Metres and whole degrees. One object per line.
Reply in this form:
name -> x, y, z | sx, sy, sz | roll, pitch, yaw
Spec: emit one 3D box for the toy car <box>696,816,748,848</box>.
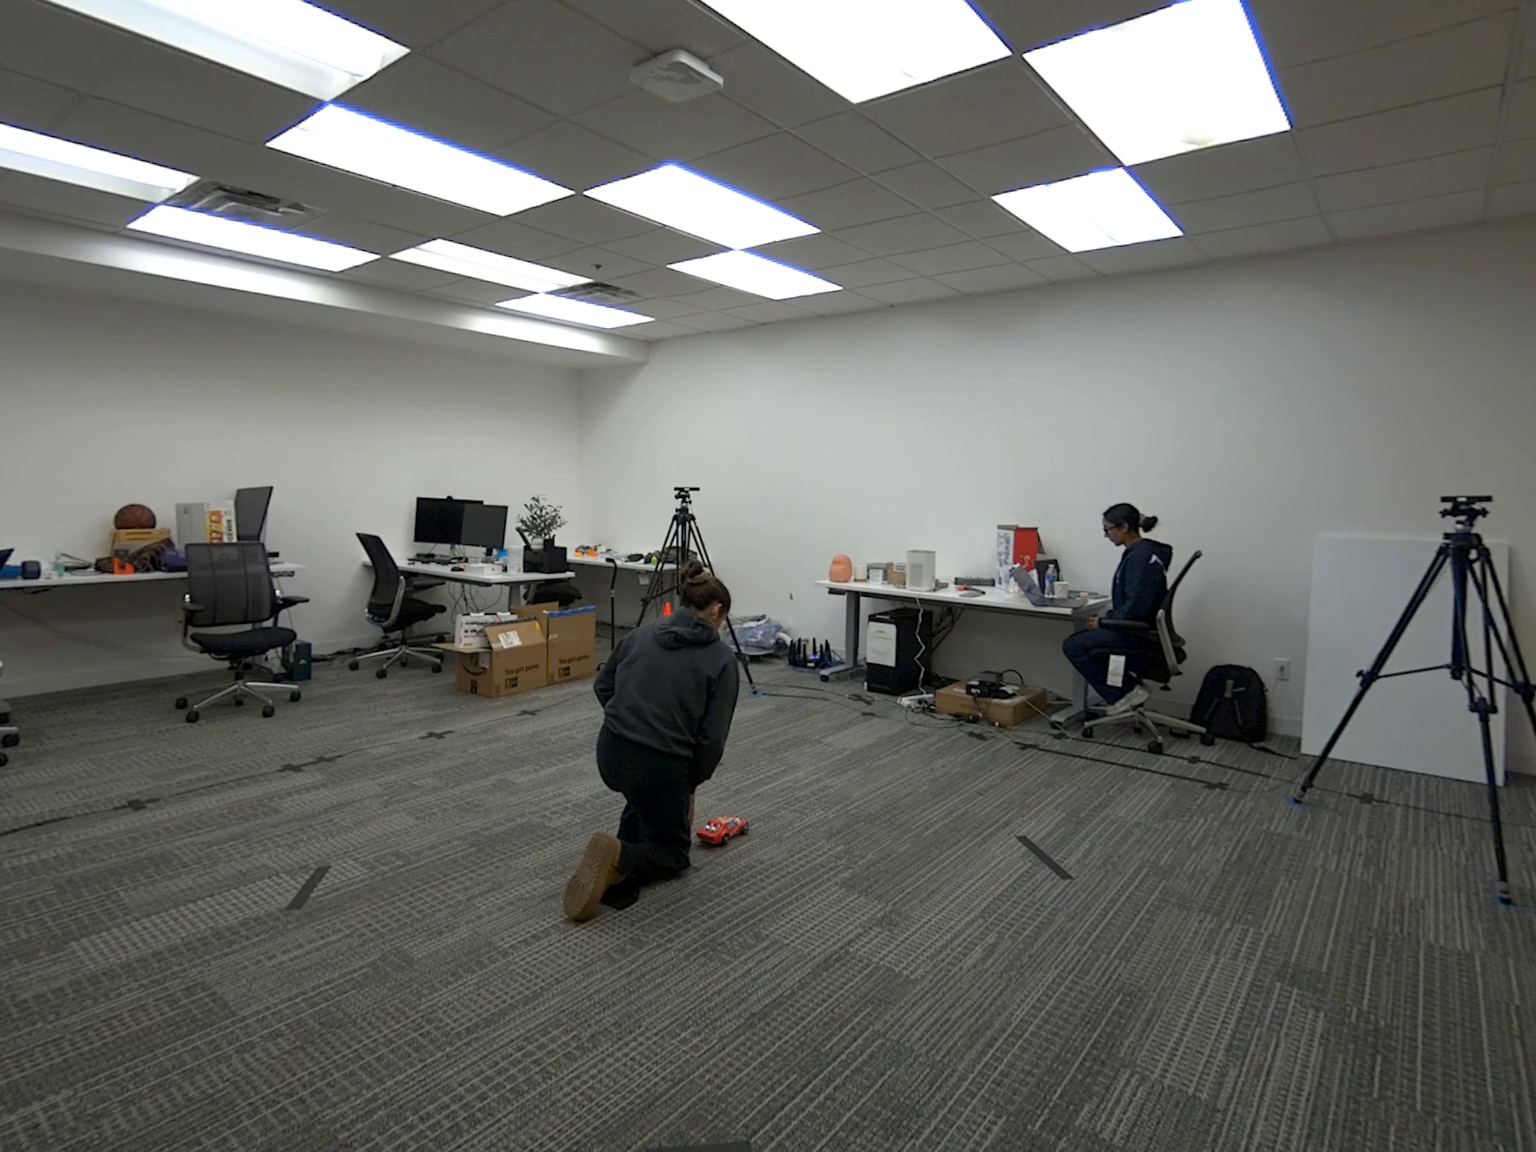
toy car -> -0.182, 1.009, 3.376 | 0.134, 0.083, 0.245 | 5, -5, 34
